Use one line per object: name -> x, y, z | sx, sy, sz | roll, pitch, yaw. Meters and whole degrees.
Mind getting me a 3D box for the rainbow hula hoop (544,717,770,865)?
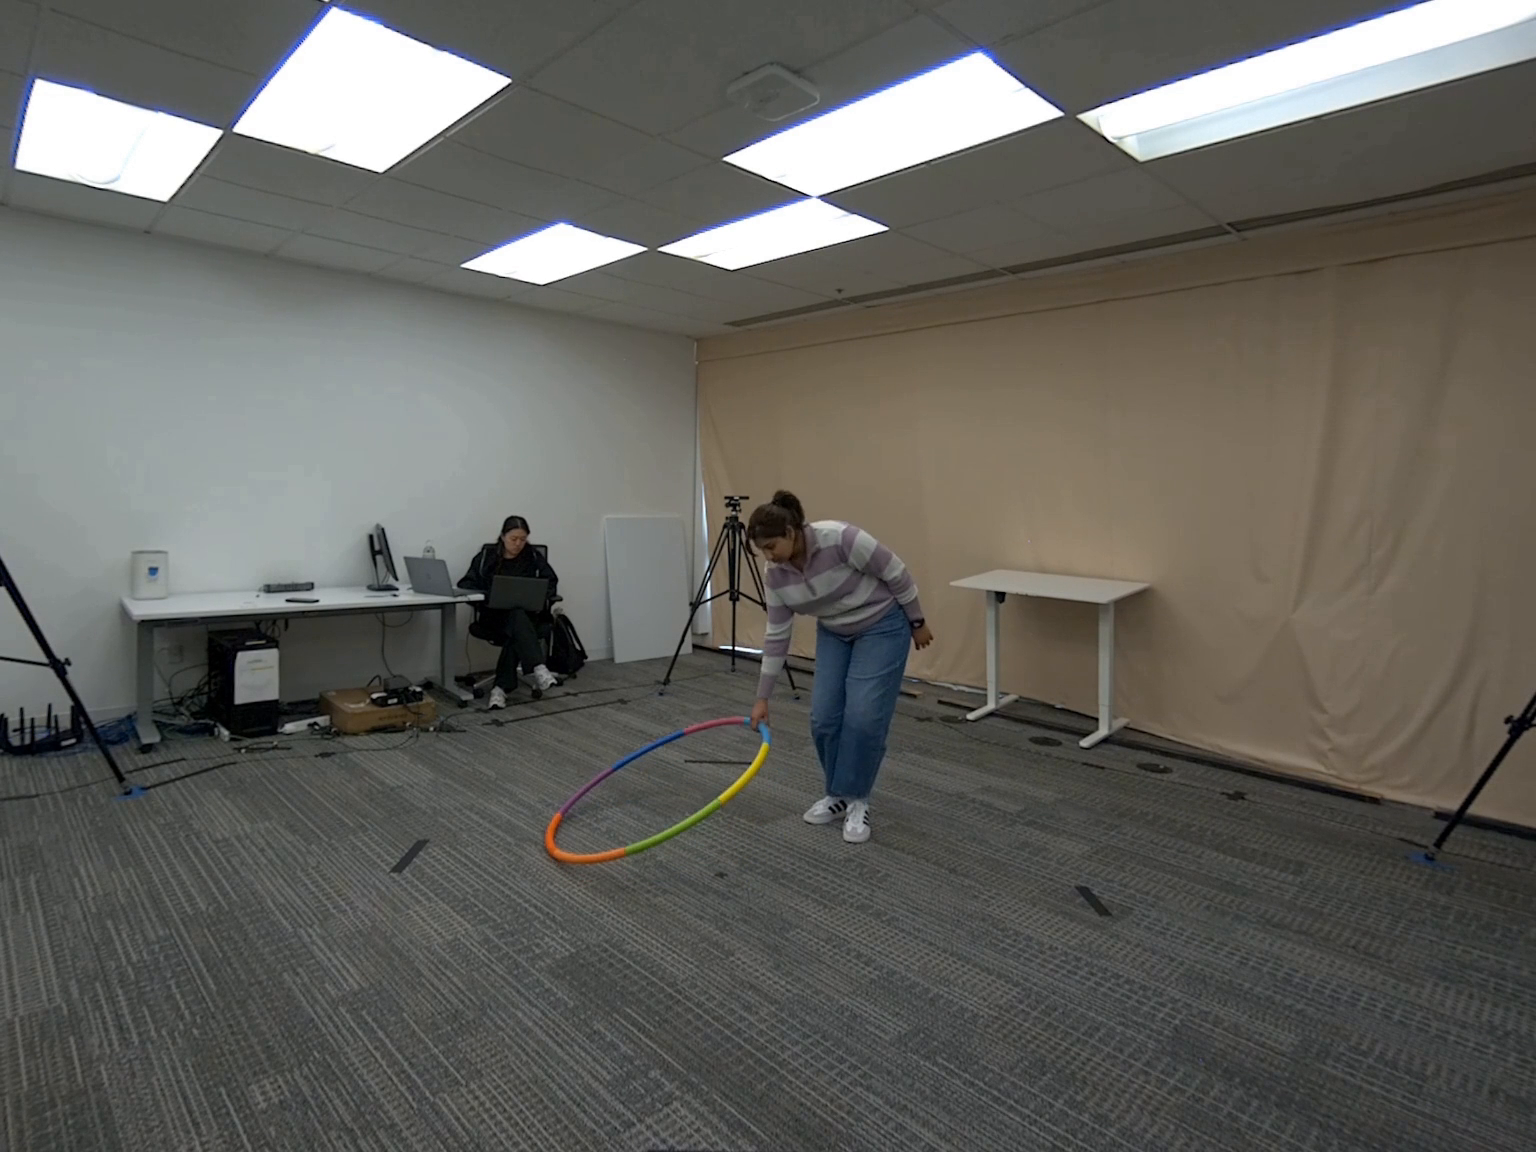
rainbow hula hoop -> -0.449, 0.842, 3.418 | 0.987, 0.051, 0.994 | -23, 12, 3
